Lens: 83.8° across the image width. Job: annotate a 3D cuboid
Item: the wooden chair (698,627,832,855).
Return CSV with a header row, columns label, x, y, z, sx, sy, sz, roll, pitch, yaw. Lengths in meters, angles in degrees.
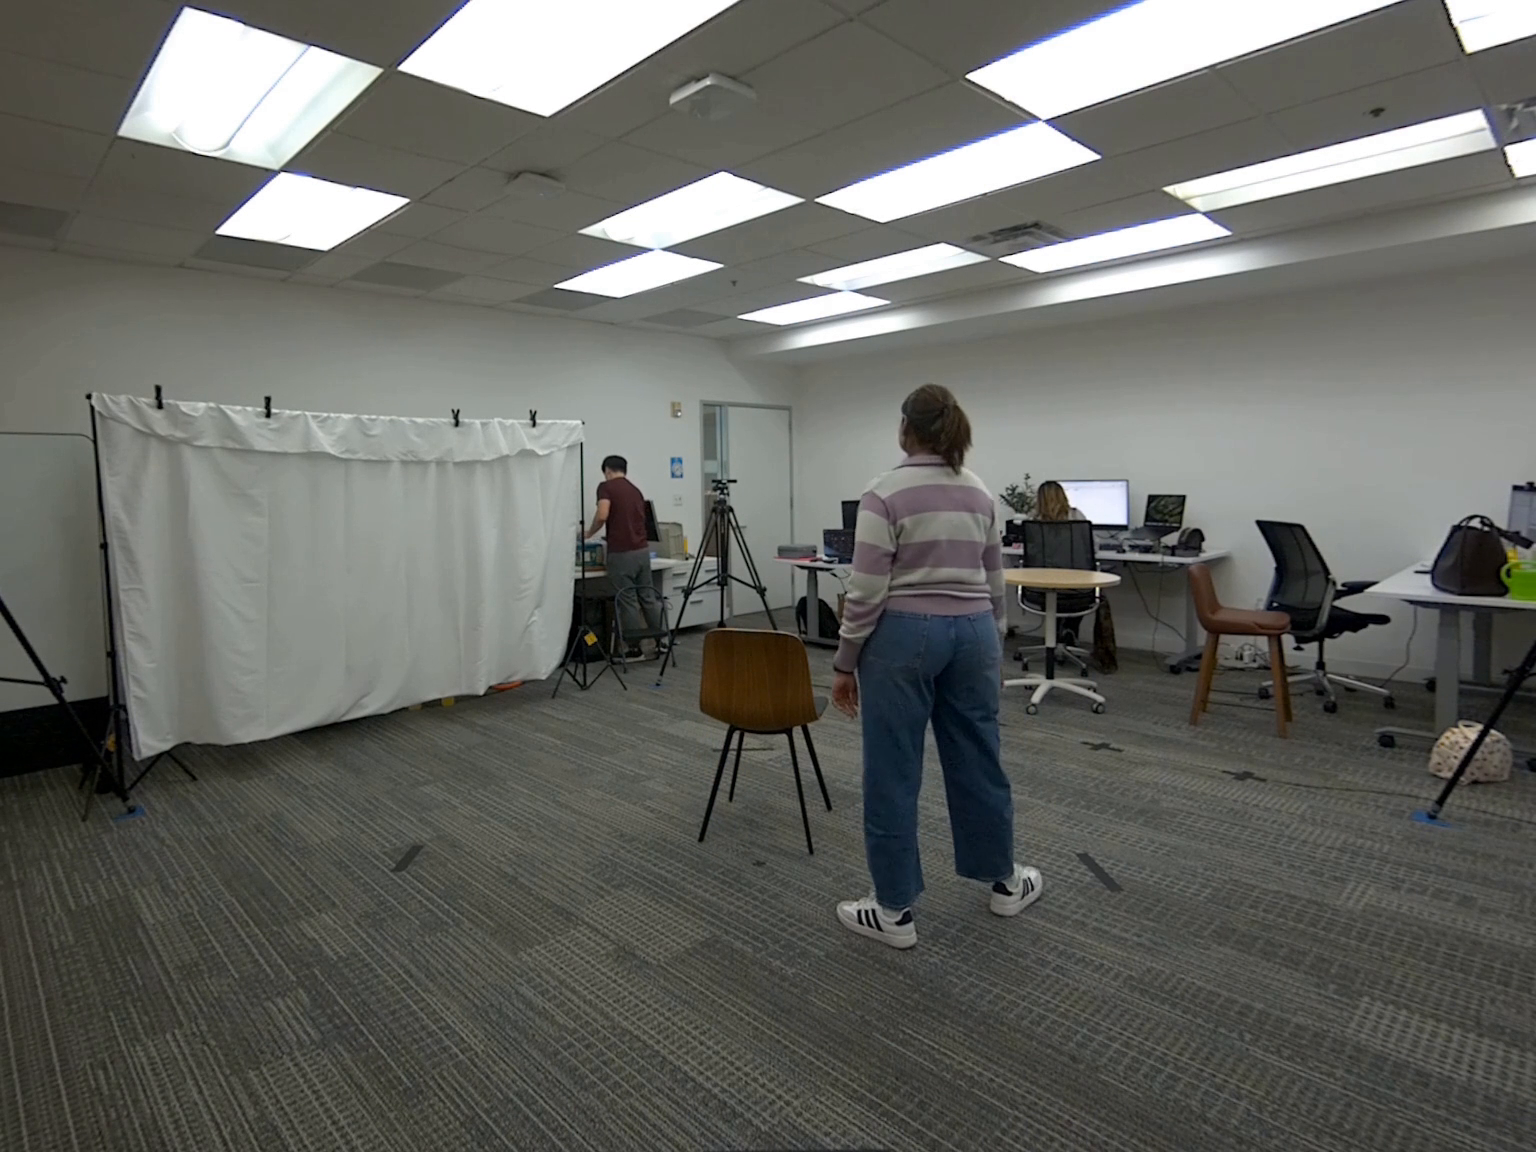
label,x,y,z,sx,sy,sz,roll,pitch,yaw
wooden chair,-0.002,0.583,3.429,0.486,0.871,0.519,0,8,15
